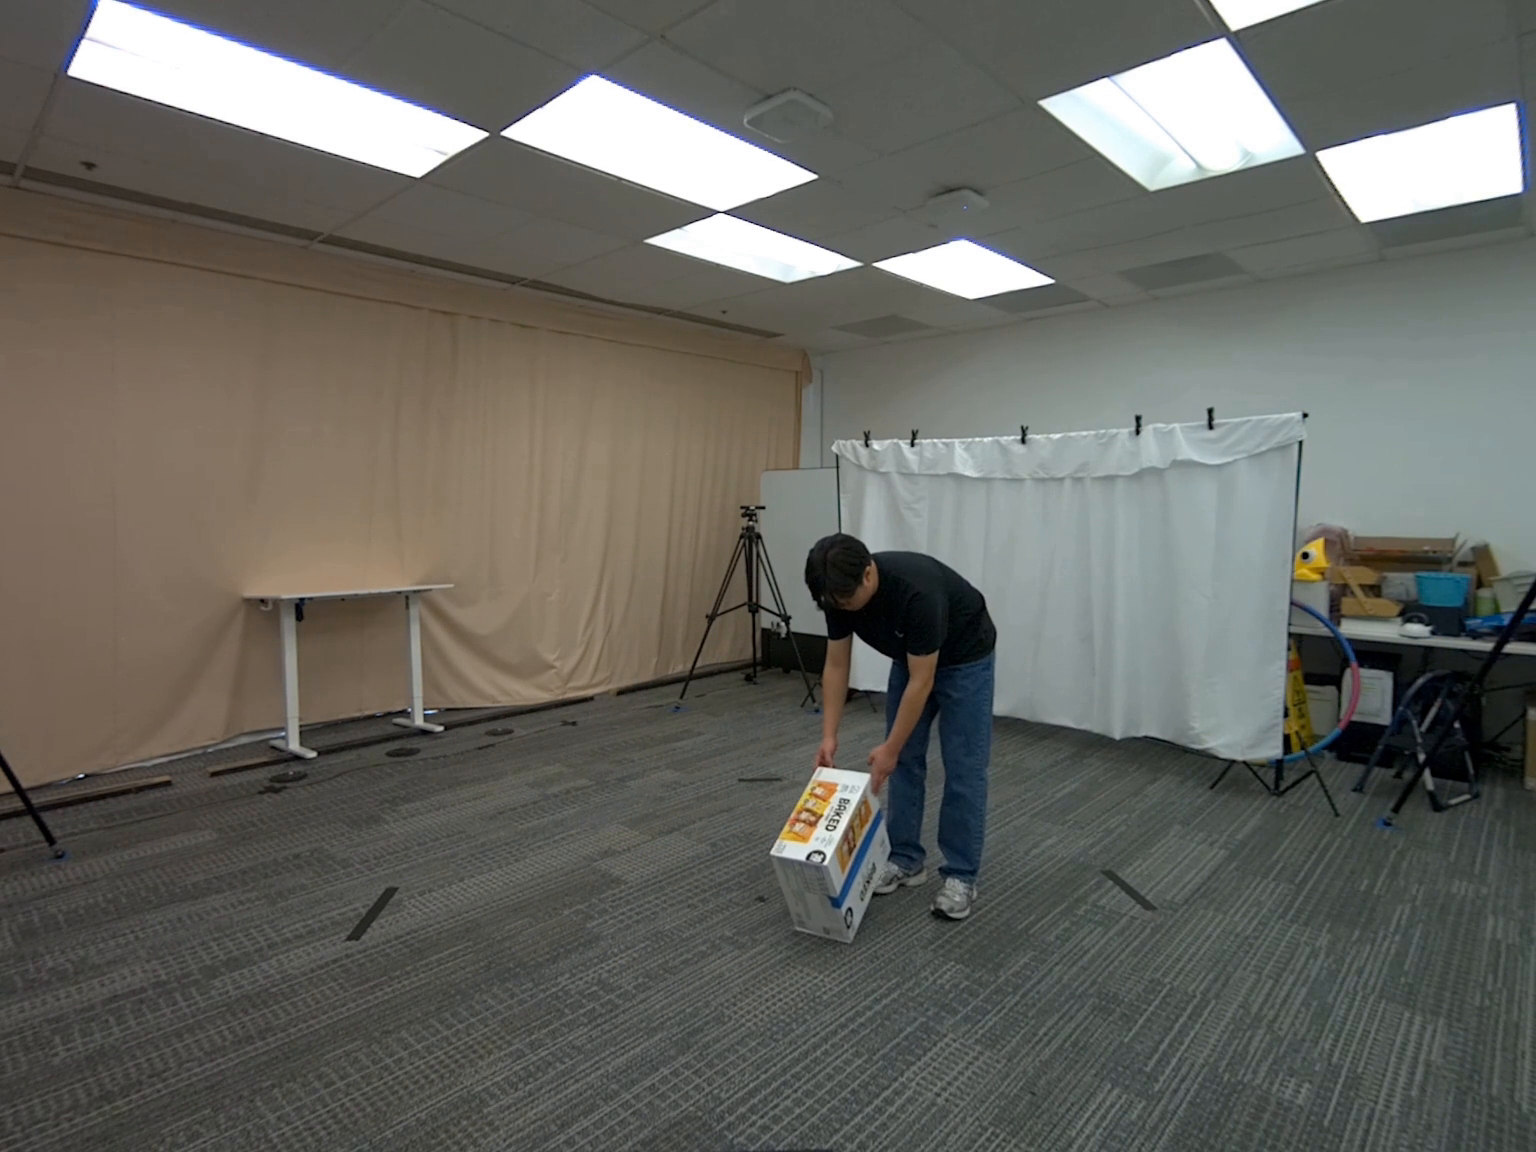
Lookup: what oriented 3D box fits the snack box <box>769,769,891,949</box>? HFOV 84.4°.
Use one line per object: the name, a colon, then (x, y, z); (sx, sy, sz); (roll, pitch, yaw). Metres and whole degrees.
snack box: (0.226, 0.918, 2.794); (0.212, 0.333, 0.402); (-1, 29, 32)
